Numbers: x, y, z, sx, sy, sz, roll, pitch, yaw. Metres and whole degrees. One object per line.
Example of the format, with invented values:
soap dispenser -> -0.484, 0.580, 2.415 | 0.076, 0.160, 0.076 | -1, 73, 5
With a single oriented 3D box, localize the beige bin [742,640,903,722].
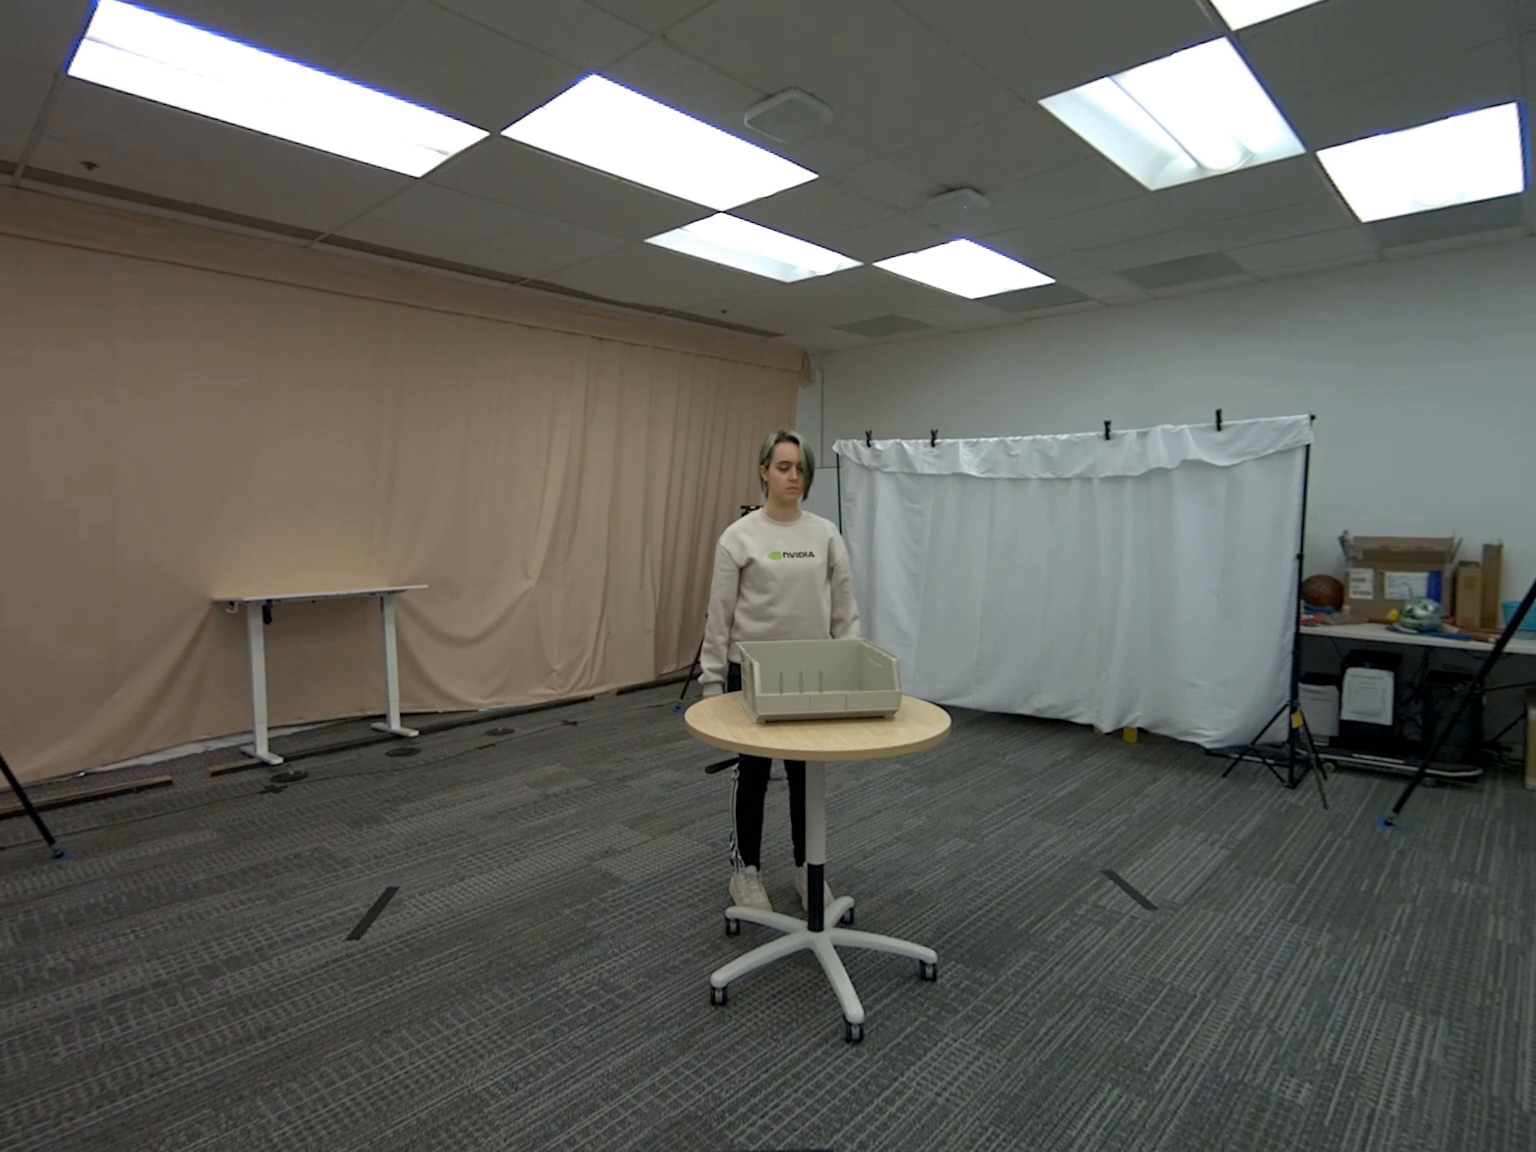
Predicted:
beige bin -> 0.137, 0.310, 2.511 | 0.419, 0.188, 0.381 | -2, 4, -9
